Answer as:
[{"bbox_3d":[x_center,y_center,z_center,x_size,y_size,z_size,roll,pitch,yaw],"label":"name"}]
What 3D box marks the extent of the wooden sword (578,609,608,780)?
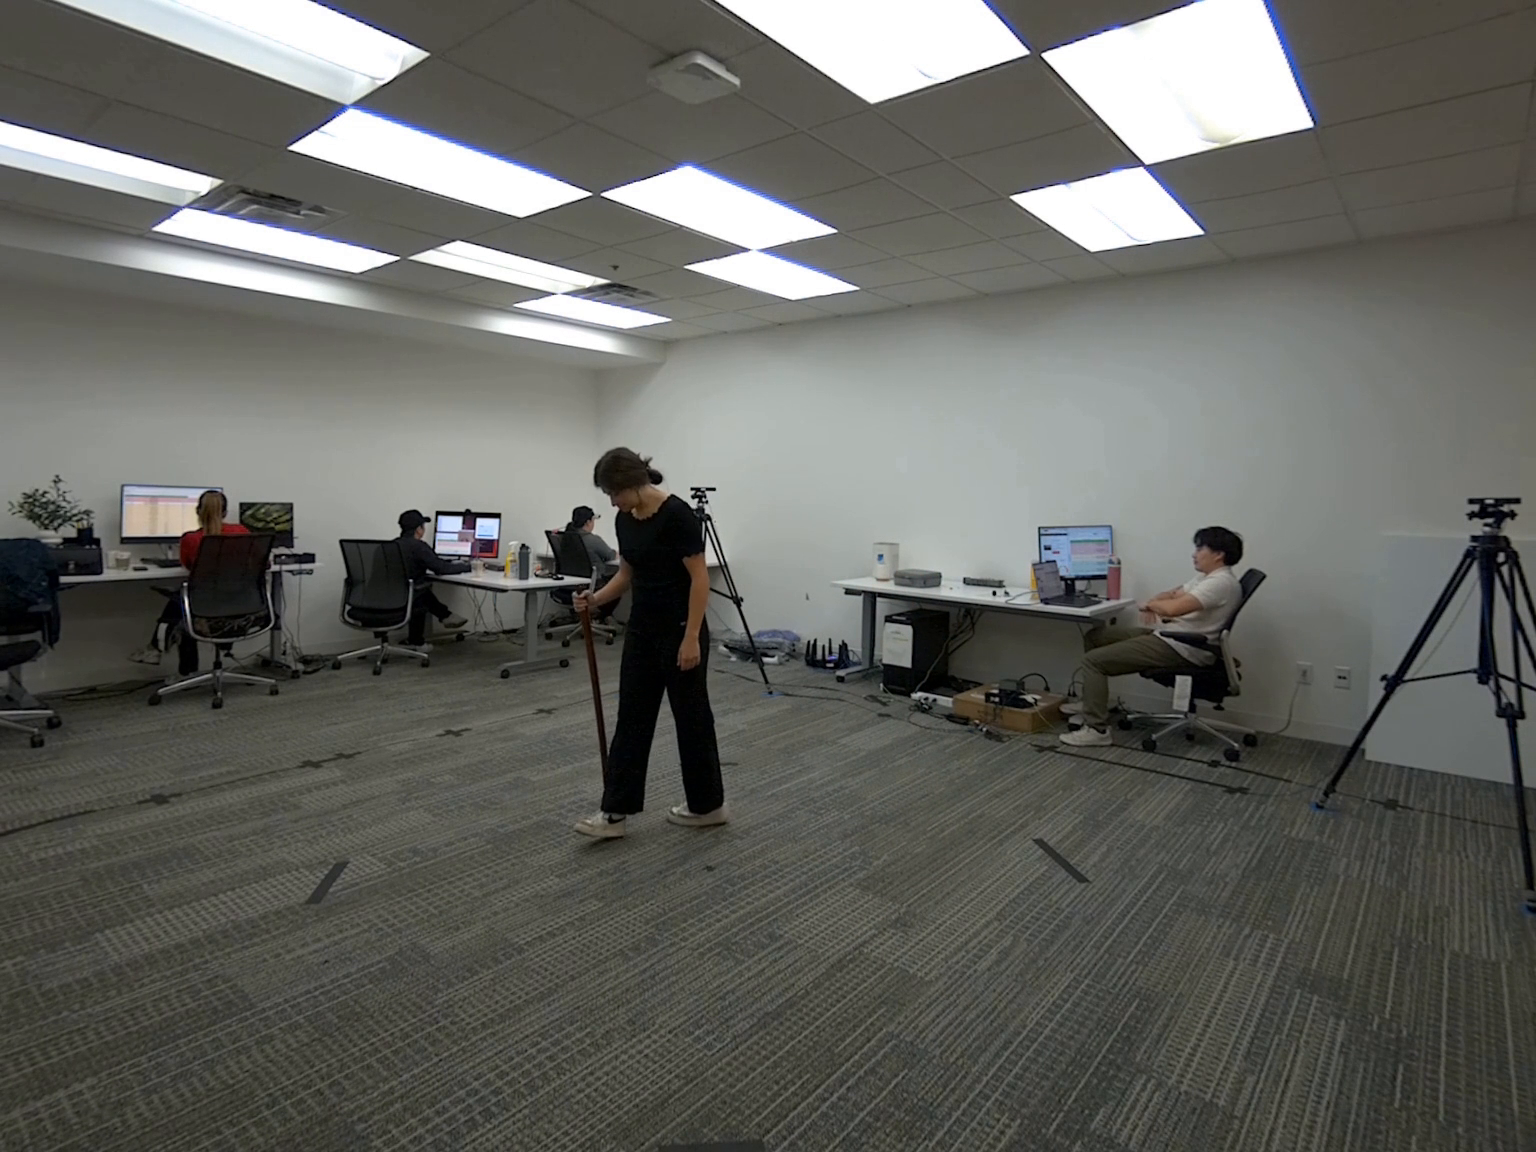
[{"bbox_3d":[-0.713,0.538,3.491,0.024,1.010,0.052,-6,14,-6],"label":"wooden sword"}]
